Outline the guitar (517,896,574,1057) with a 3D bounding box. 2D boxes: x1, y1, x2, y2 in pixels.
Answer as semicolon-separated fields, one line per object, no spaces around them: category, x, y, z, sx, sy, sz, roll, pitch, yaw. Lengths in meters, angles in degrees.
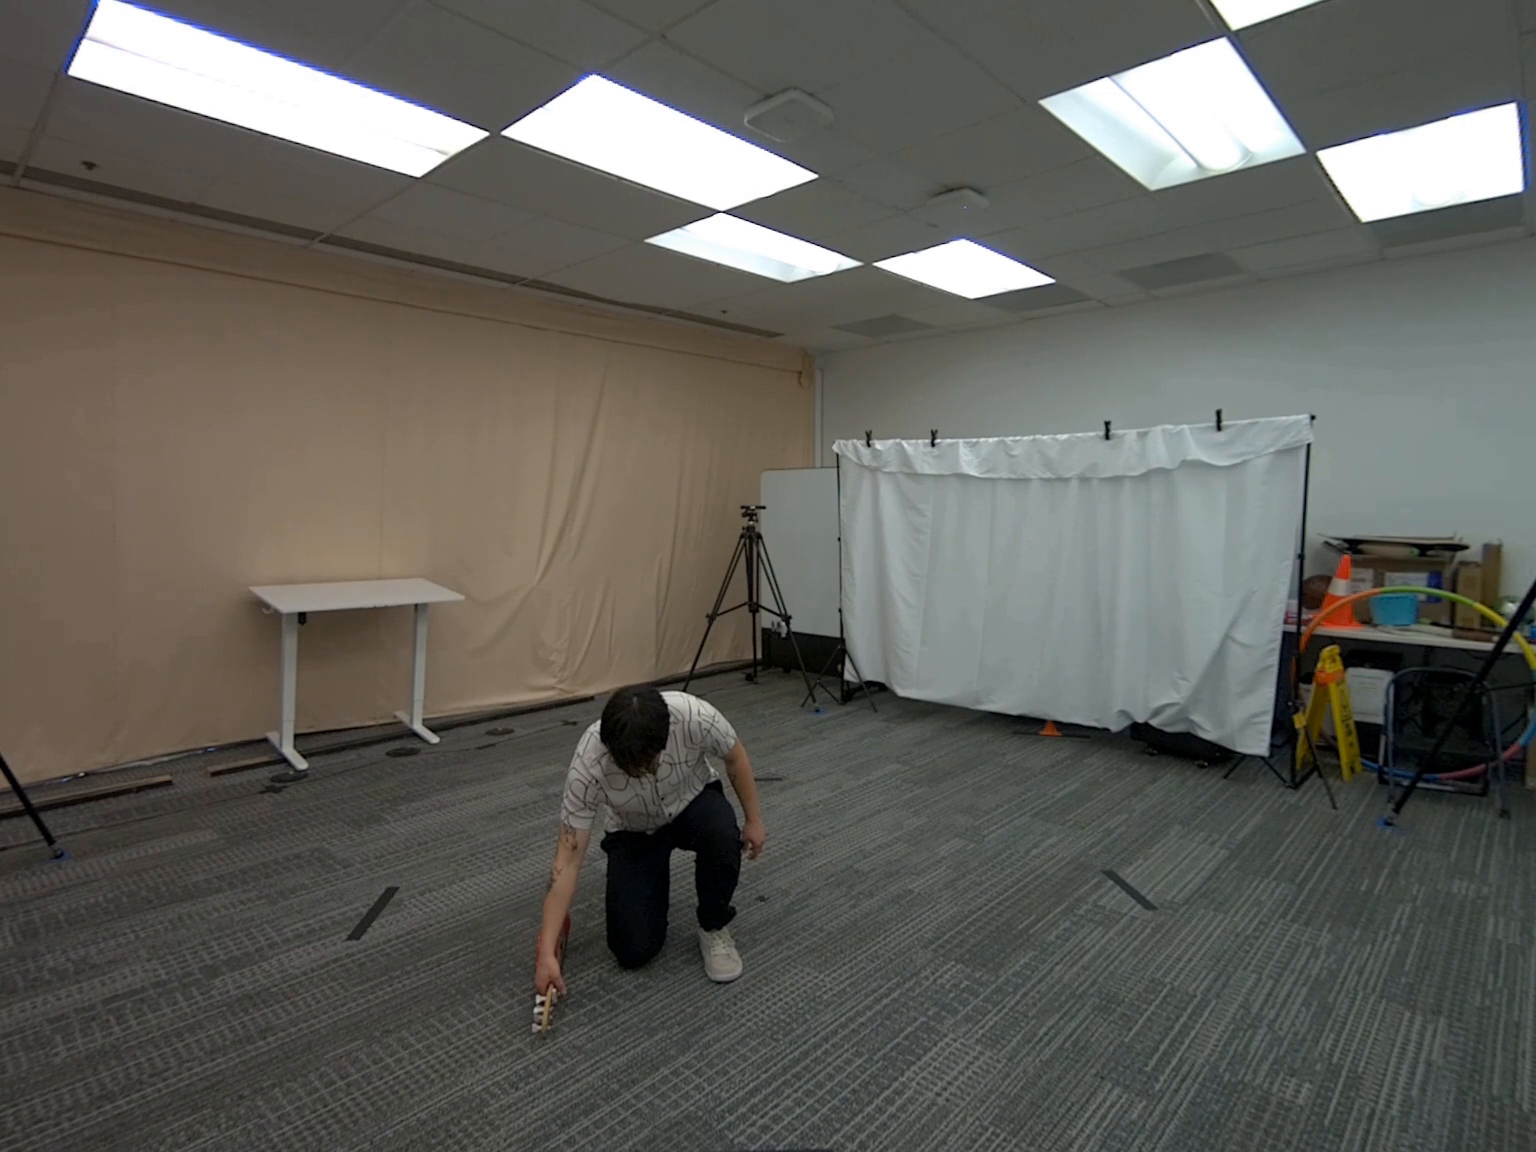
guitar;-0.631;1.112;2.423;0.070;0.192;0.502;5;5;-7
